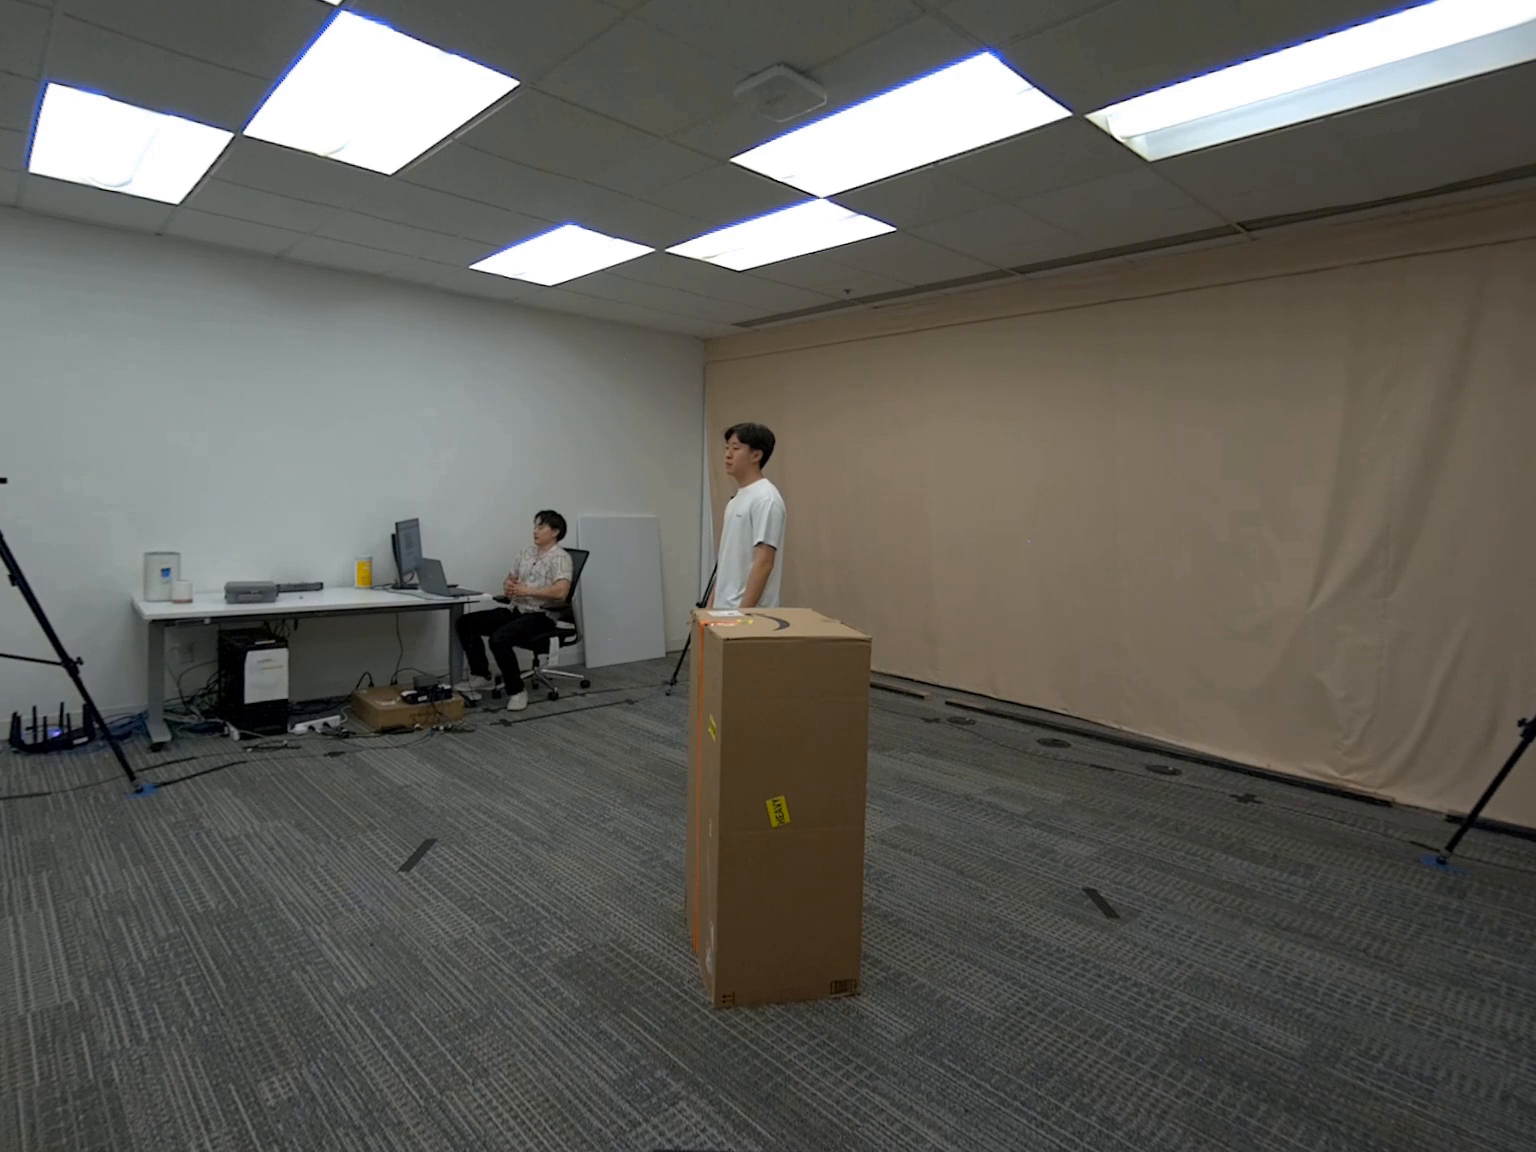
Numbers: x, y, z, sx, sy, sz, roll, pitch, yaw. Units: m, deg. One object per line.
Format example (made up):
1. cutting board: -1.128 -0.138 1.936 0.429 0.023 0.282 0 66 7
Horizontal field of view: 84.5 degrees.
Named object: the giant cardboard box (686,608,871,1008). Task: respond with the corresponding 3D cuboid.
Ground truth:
1. giant cardboard box: -0.008 0.648 2.580 0.421 1.023 0.586 0 4 -15
